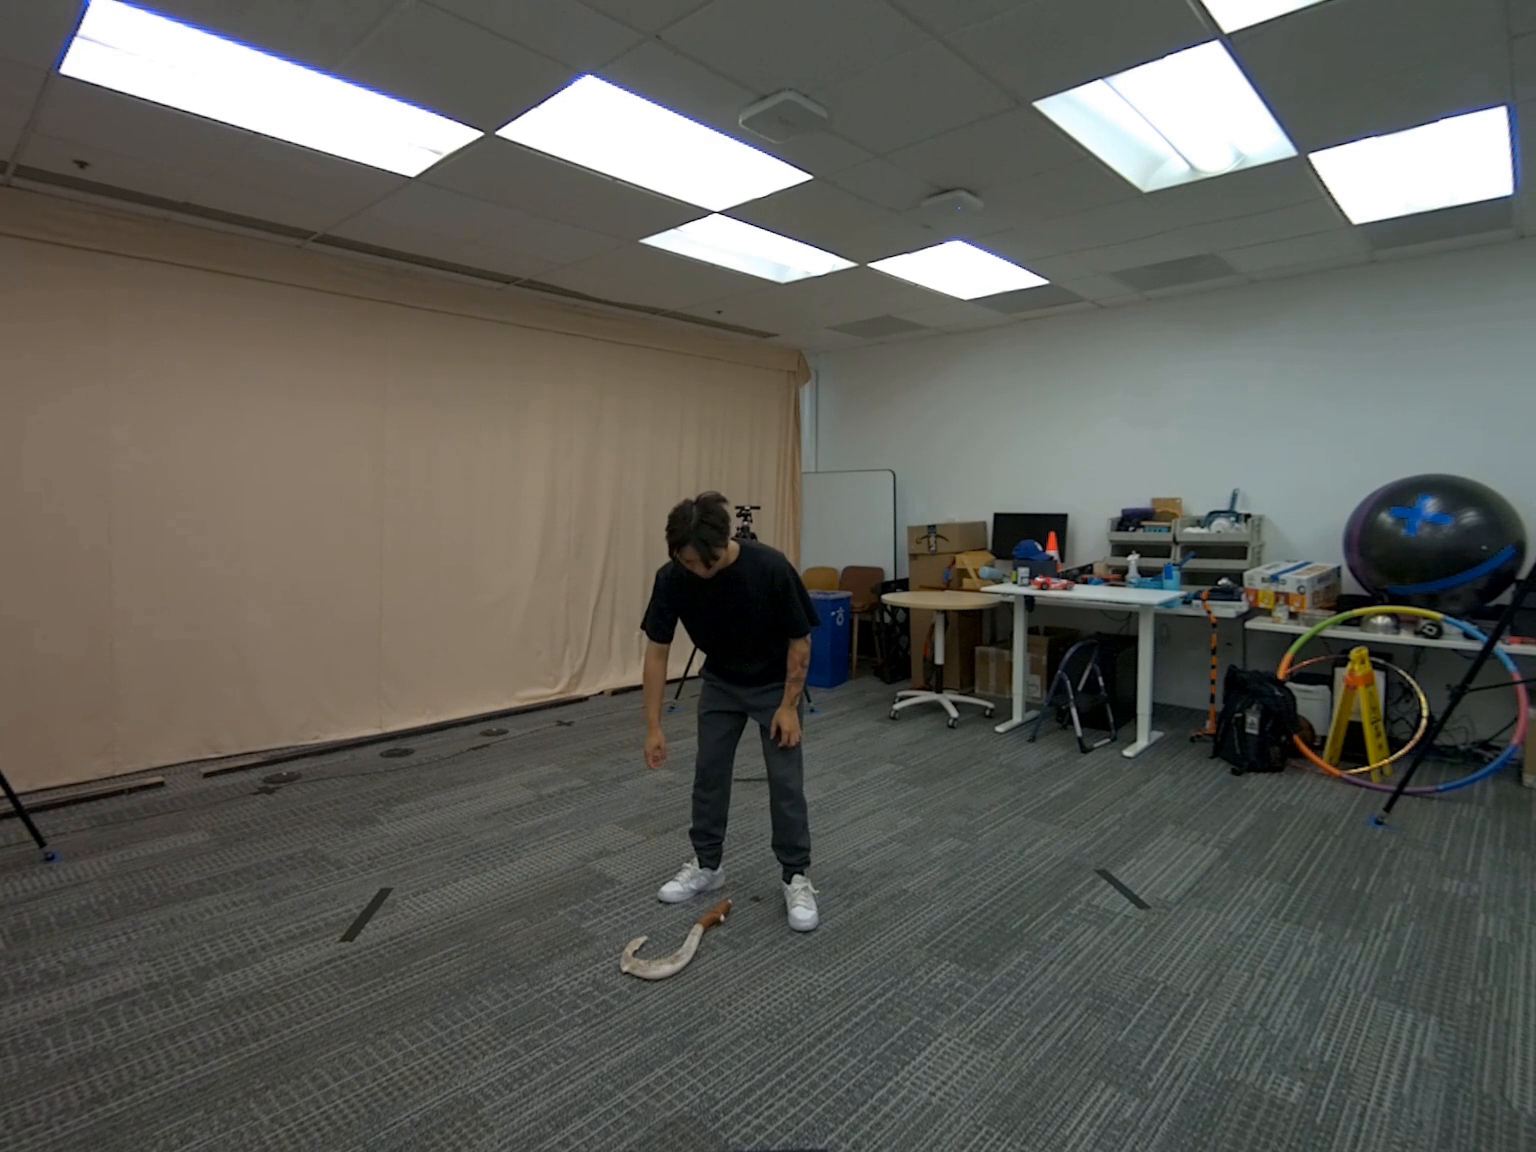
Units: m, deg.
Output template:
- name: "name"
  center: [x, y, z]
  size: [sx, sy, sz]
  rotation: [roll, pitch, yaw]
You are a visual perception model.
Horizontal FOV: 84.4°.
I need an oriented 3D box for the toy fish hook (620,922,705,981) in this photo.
- name: "toy fish hook"
  center: [-0.289, 1.147, 2.699]
  size: [0.230, 0.048, 0.494]
  rotation: [3, 5, 26]
